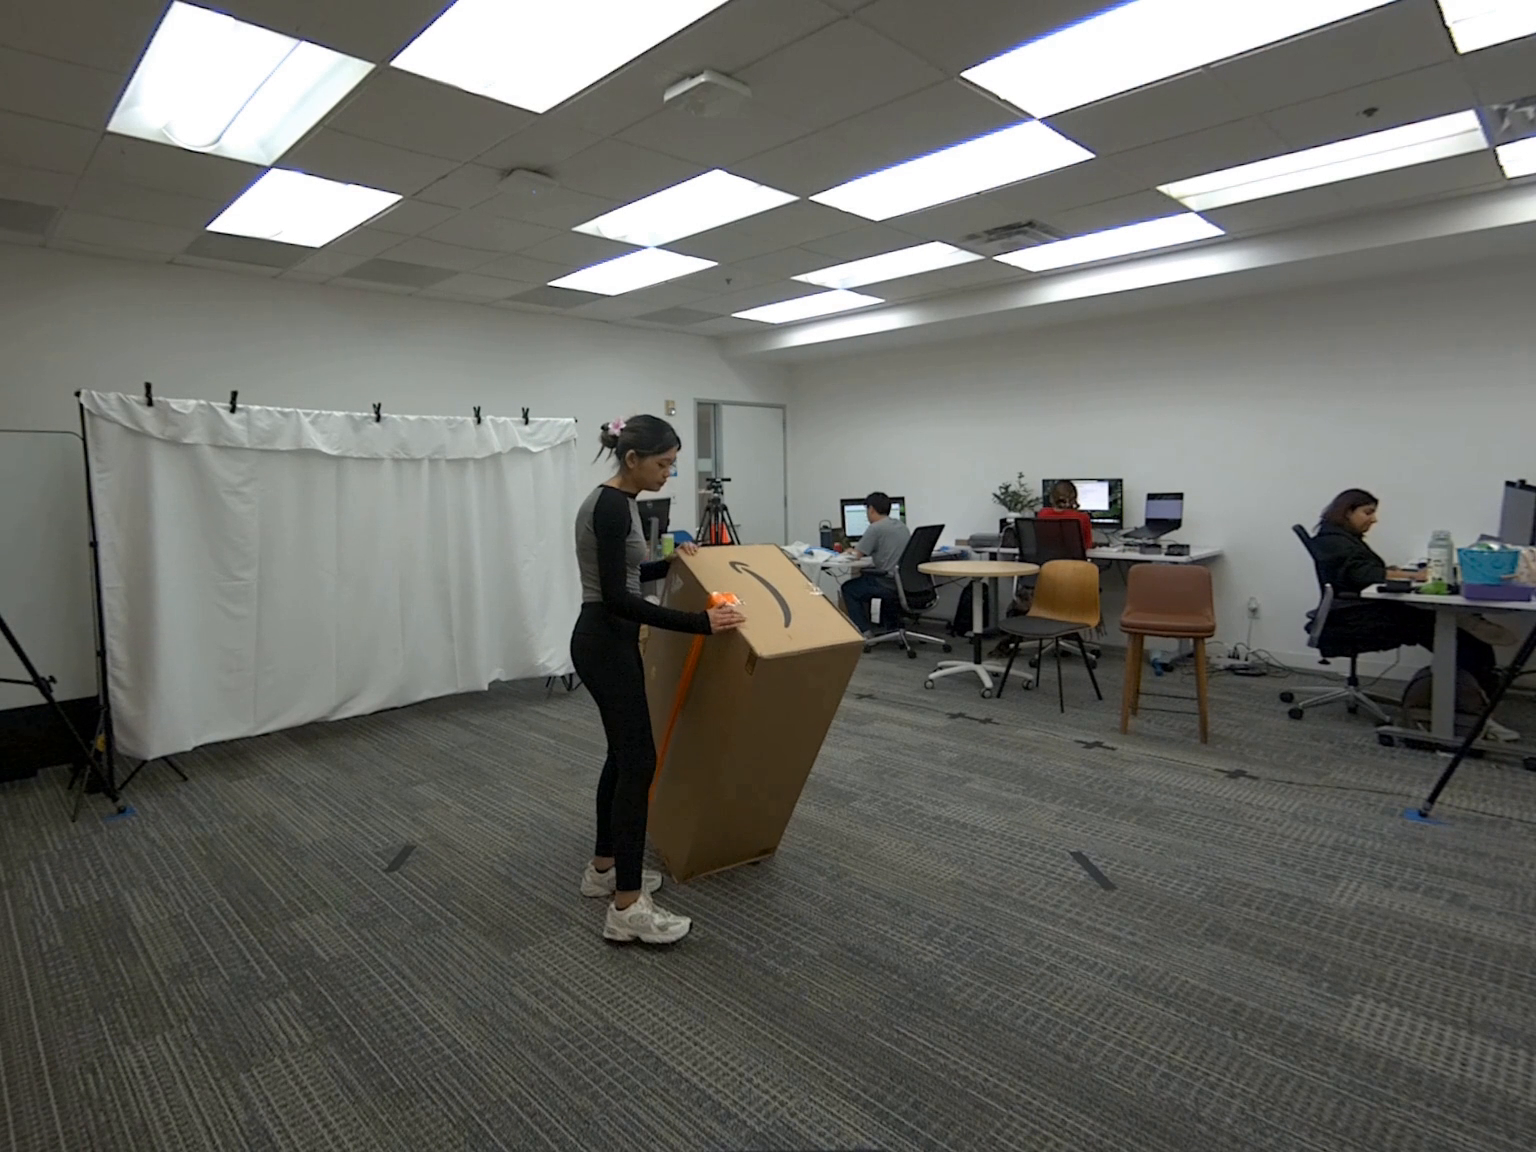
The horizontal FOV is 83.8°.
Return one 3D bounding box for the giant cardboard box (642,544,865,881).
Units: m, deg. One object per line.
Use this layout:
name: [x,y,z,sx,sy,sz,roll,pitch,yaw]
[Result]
giant cardboard box: [-0.144,0.479,3.026,0.435,1.013,0.607,-3,35,-36]
